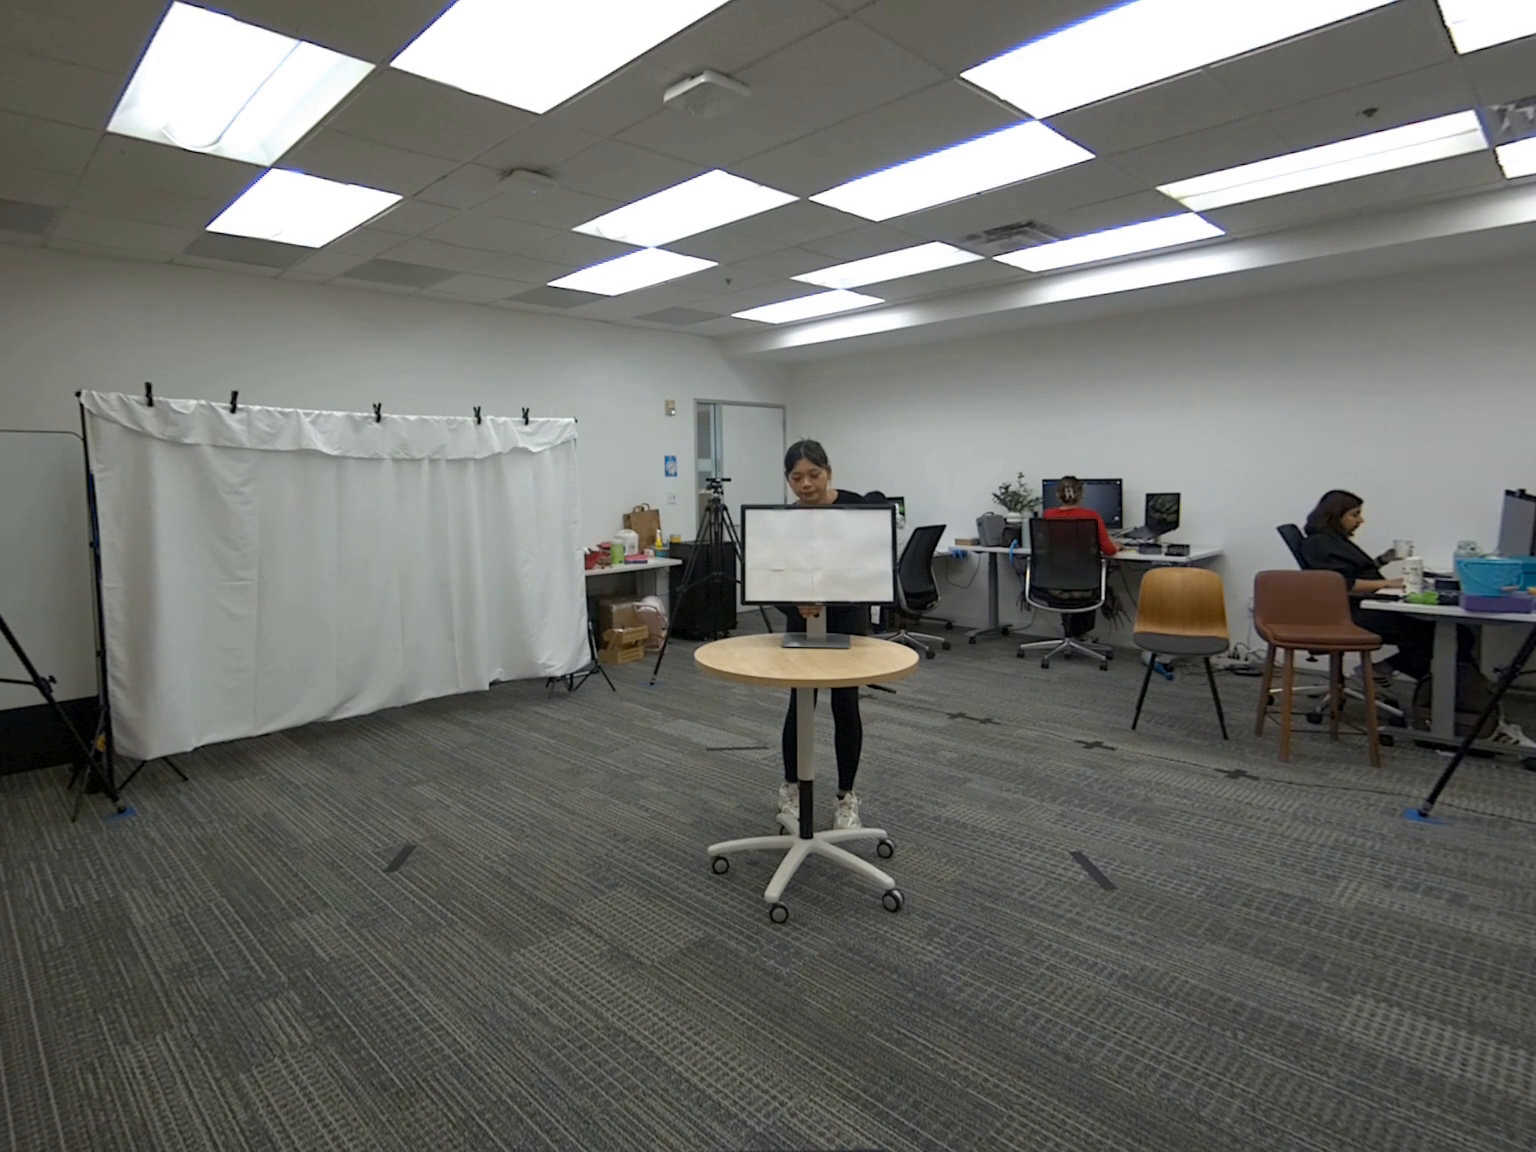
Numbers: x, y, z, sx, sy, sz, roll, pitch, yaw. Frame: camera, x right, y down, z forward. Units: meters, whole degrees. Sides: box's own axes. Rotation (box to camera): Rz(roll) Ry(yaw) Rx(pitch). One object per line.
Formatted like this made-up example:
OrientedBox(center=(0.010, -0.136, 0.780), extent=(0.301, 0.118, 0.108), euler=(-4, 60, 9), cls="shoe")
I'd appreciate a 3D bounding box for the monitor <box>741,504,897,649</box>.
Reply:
OrientedBox(center=(0.169, 0.004, 3.108), extent=(0.539, 0.520, 0.188), euler=(0, 5, -1), cls="monitor")
